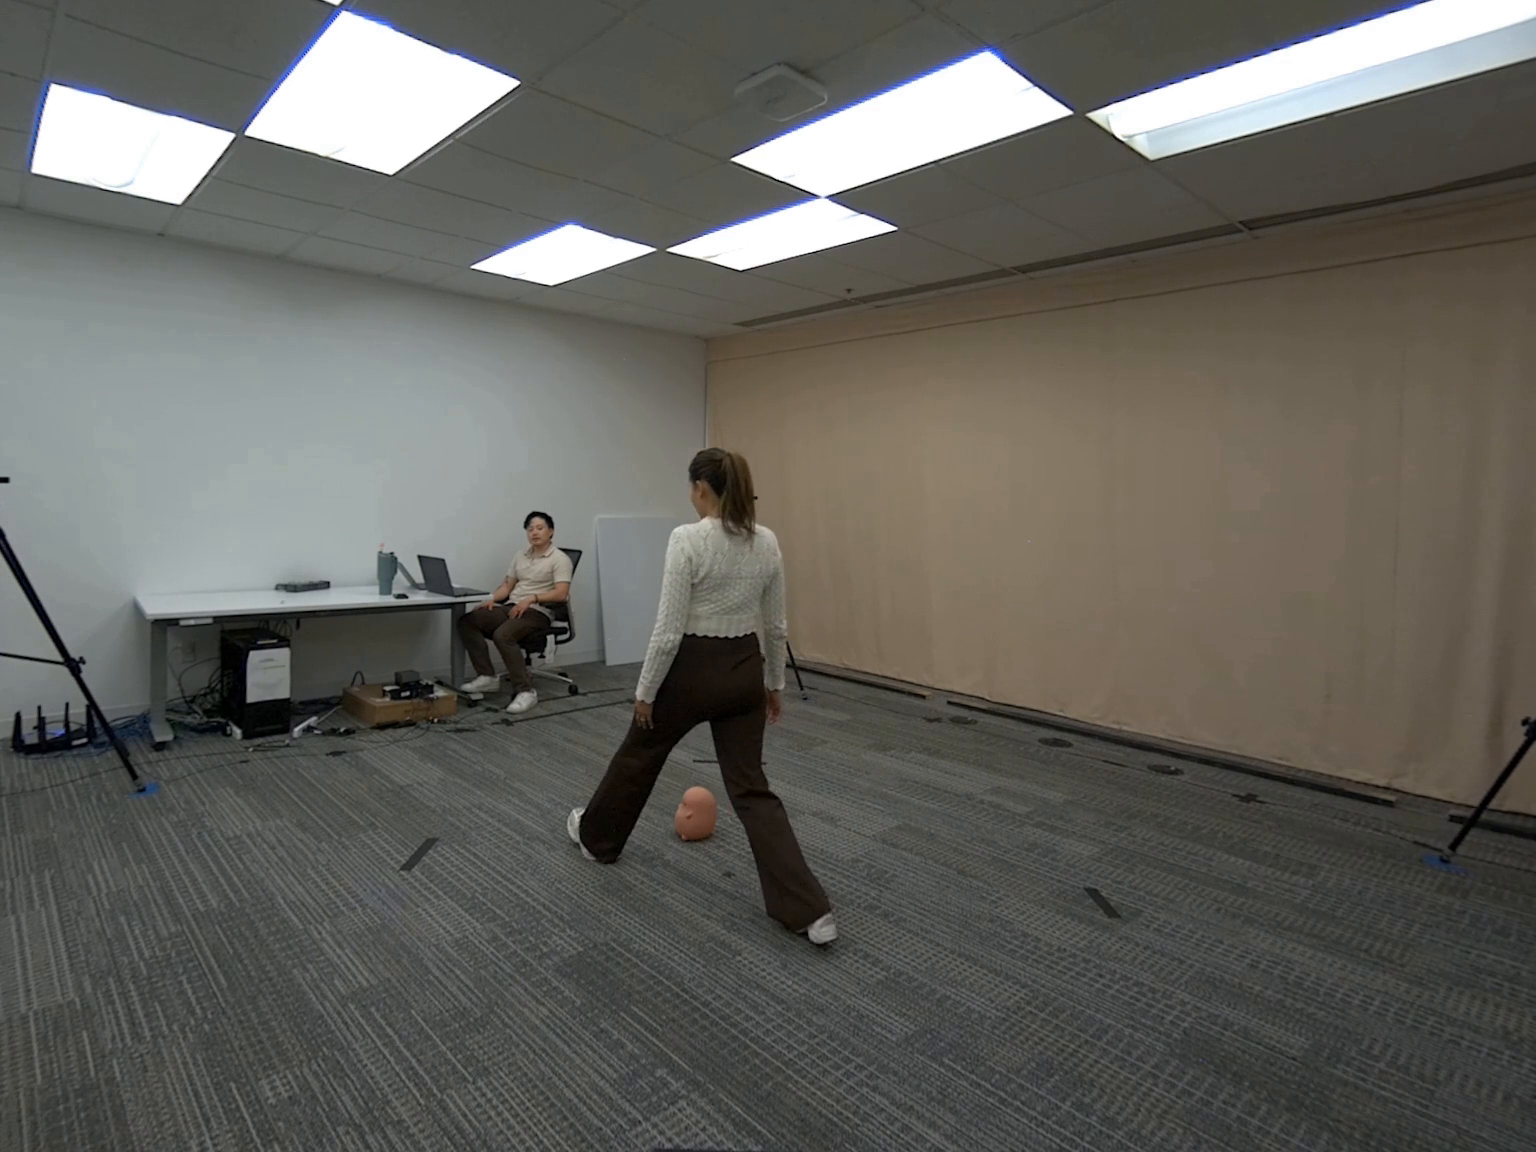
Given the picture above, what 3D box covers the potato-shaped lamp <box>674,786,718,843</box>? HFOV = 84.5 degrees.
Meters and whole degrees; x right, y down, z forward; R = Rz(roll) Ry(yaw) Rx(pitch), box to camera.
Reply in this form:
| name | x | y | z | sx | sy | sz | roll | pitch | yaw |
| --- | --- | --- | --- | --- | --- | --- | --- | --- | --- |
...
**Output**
| name | x | y | z | sx | sy | sz | roll | pitch | yaw |
| --- | --- | --- | --- | --- | --- | --- | --- | --- | --- |
| potato-shaped lamp | -0.308 | 0.965 | 3.455 | 0.169 | 0.198 | 0.167 | 4 | 3 | -18 |
